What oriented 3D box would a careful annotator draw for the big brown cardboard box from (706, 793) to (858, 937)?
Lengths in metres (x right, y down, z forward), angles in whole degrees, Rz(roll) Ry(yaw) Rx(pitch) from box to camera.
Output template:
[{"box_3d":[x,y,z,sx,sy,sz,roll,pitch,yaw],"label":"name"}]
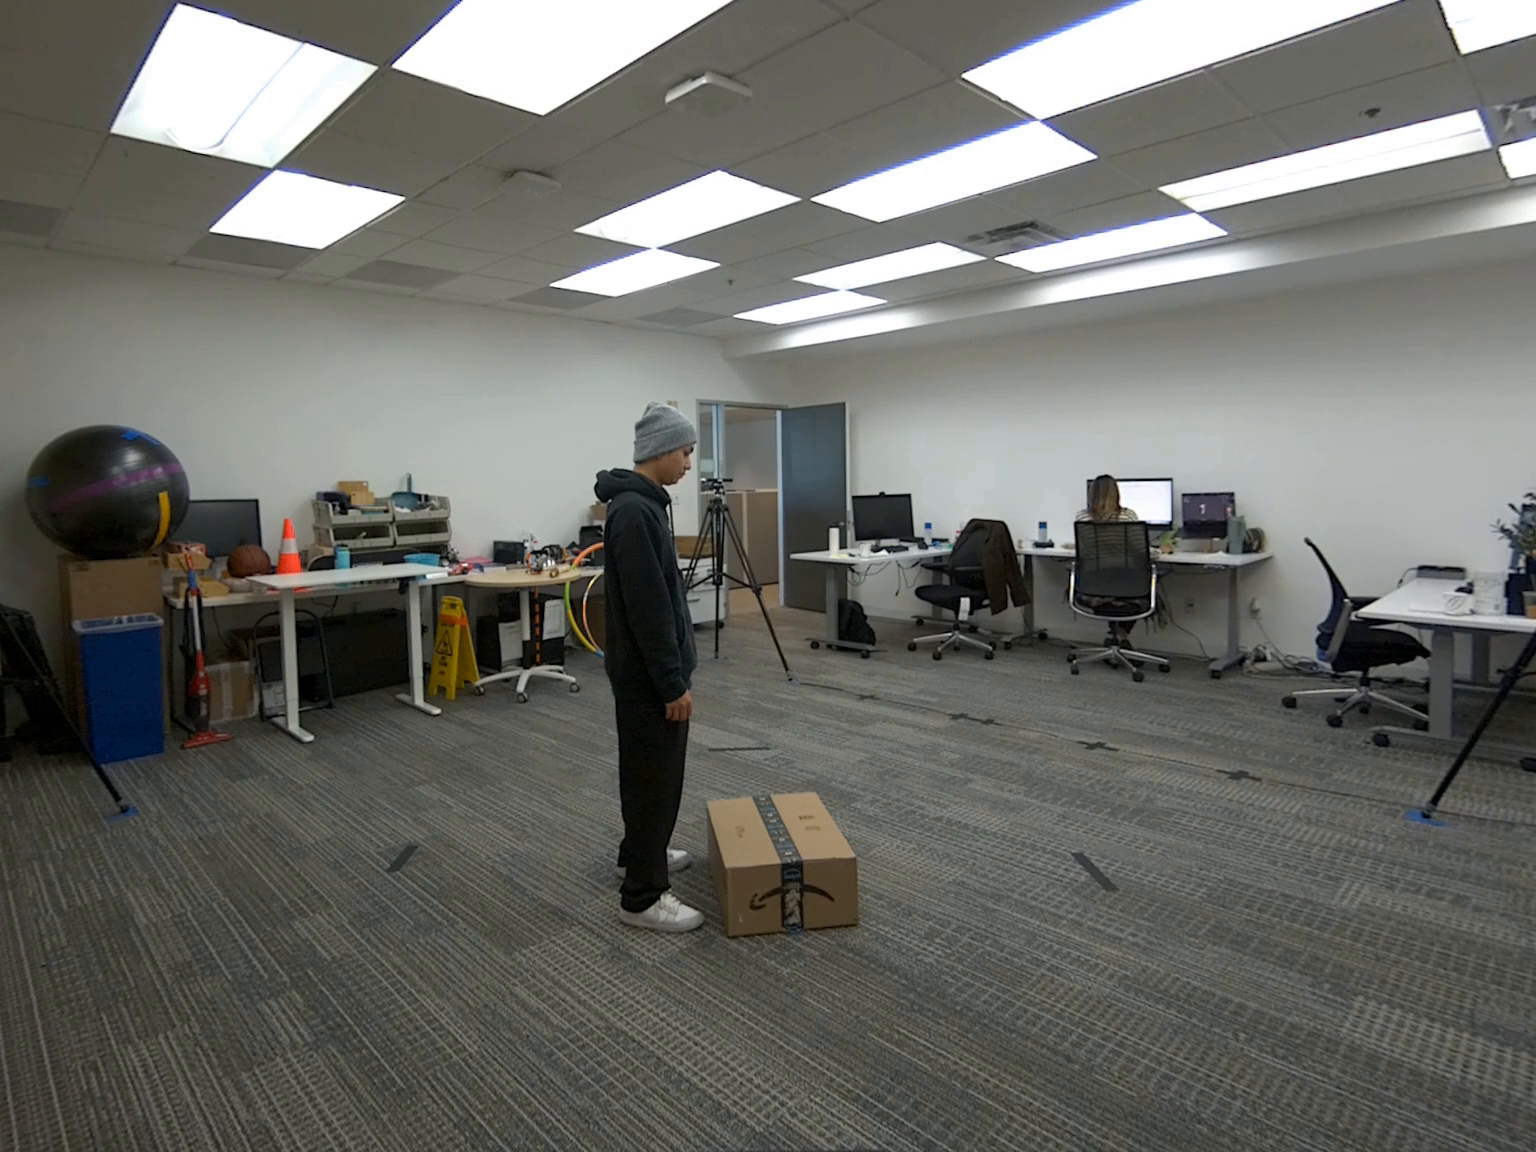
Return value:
[{"box_3d":[0.030,0.956,2.899,0.414,0.232,0.597,-3,7,-9],"label":"big brown cardboard box"}]
